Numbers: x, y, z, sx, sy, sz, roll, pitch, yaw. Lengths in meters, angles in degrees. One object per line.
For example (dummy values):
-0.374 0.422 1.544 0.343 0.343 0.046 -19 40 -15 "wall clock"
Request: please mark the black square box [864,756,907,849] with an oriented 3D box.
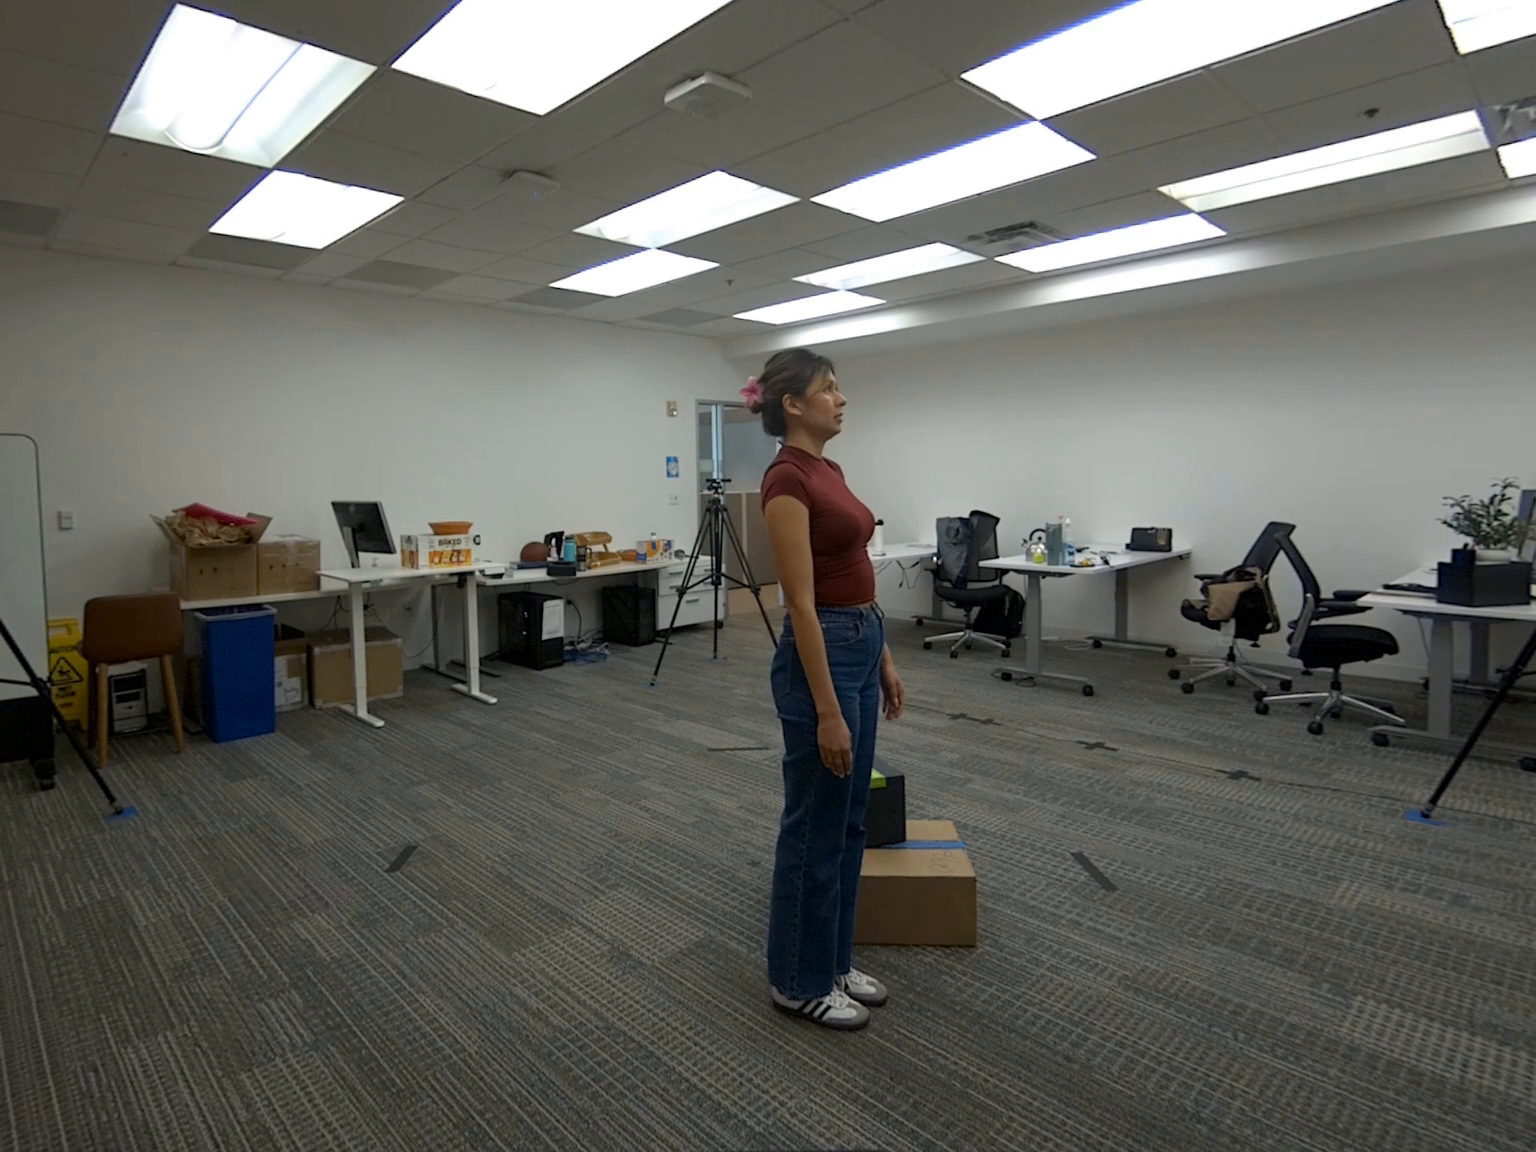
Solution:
0.332 0.733 2.828 0.154 0.216 0.232 -2 5 -15 "black square box"
